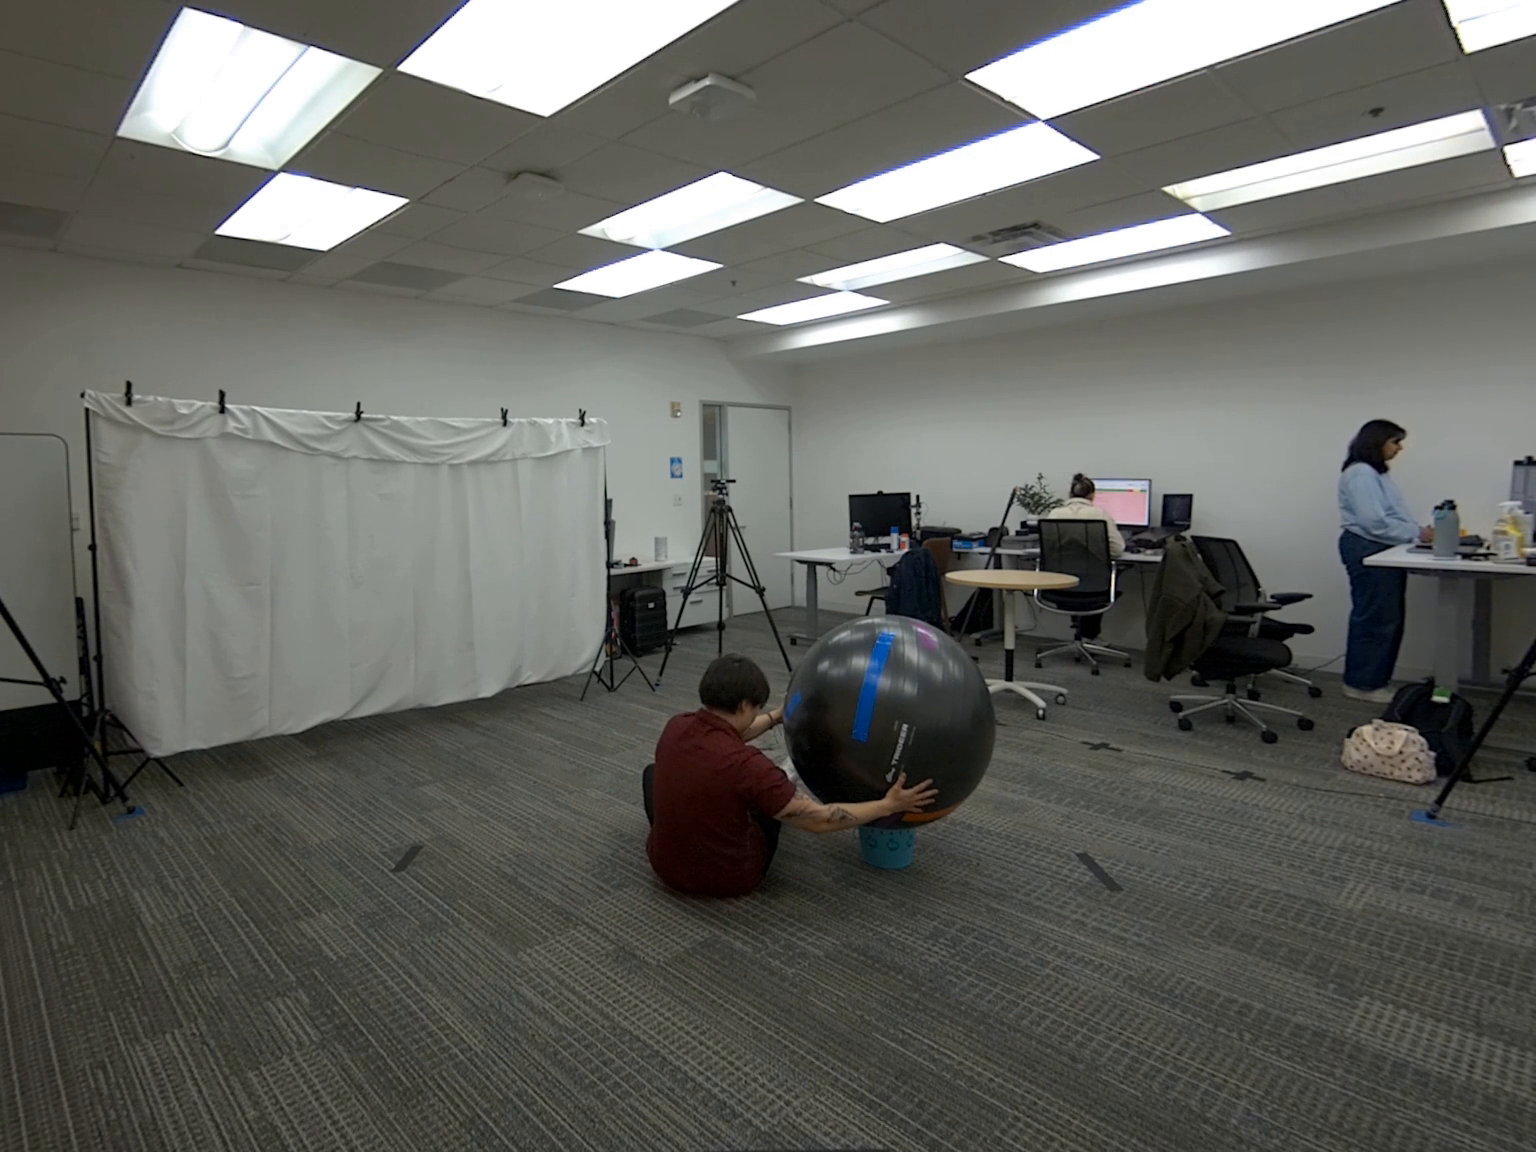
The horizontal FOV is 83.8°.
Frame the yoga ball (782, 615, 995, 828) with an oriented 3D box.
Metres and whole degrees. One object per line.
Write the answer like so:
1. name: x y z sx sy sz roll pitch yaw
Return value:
1. yoga ball: 0.442 0.528 3.121 0.757 0.755 0.762 -1 5 -2
